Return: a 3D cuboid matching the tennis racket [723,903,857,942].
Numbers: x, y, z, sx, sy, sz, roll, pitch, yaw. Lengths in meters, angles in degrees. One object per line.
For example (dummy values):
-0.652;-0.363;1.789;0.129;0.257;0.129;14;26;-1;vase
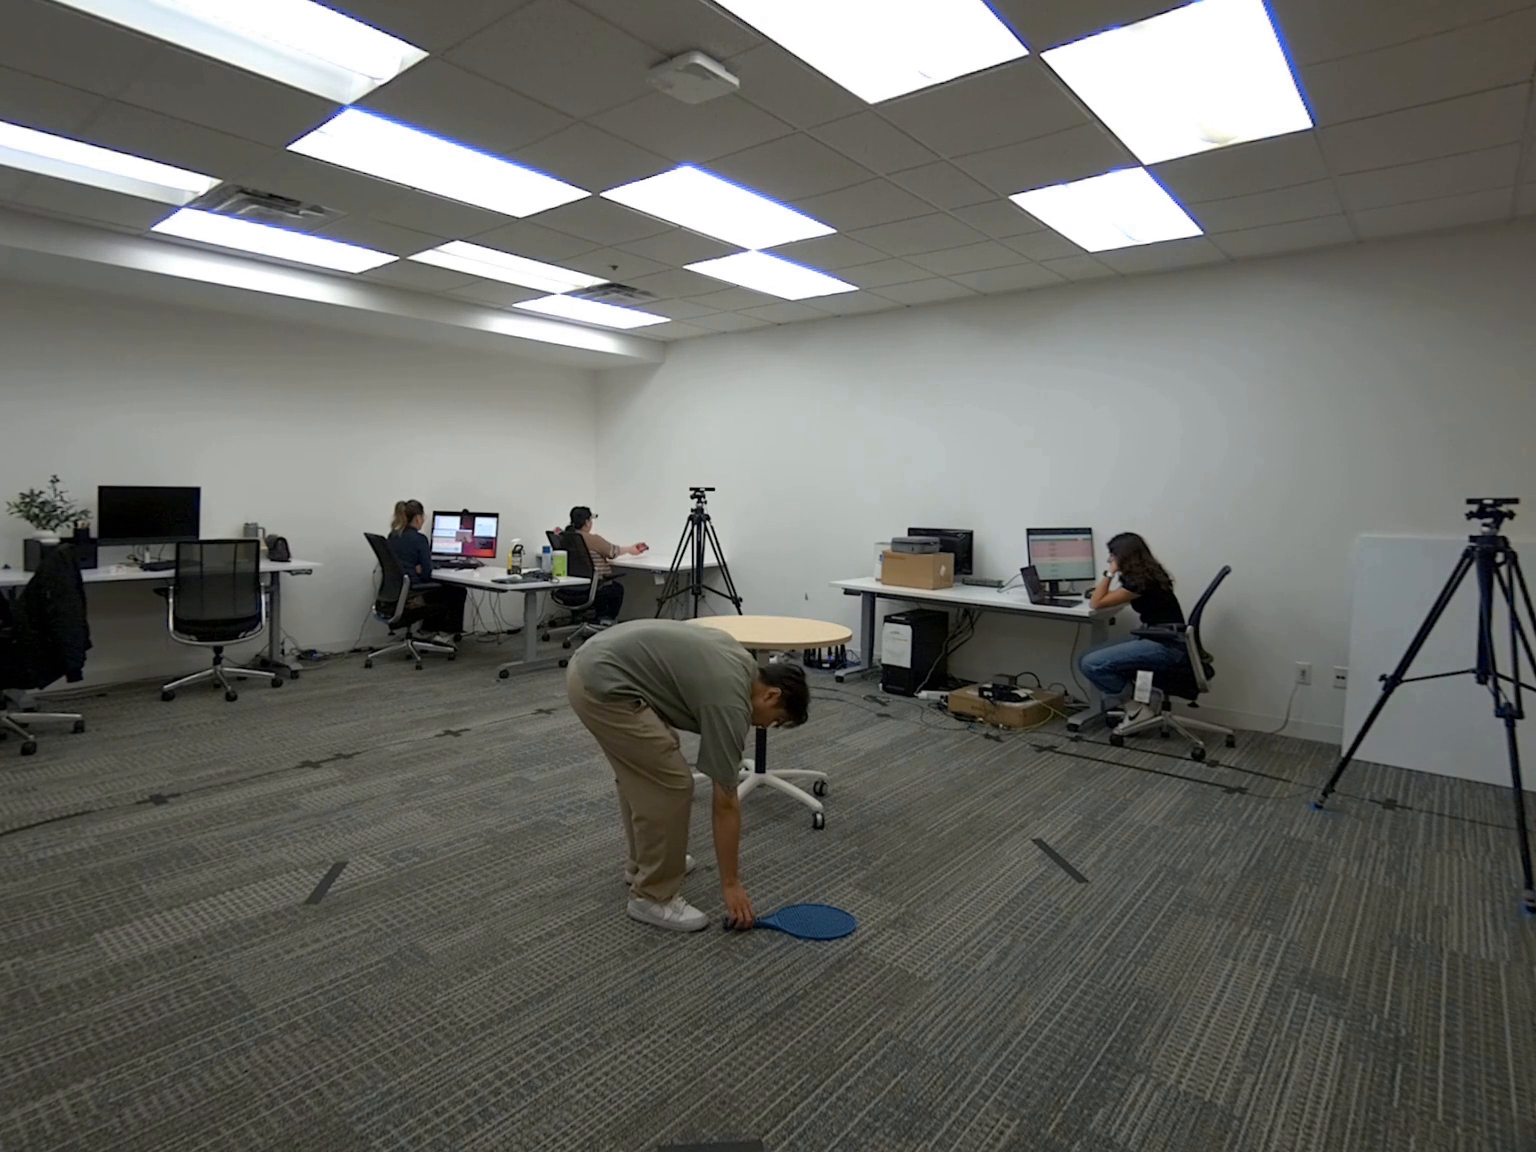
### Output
0.066;1.103;2.711;0.428;0.031;0.217;2;6;-11;tennis racket
